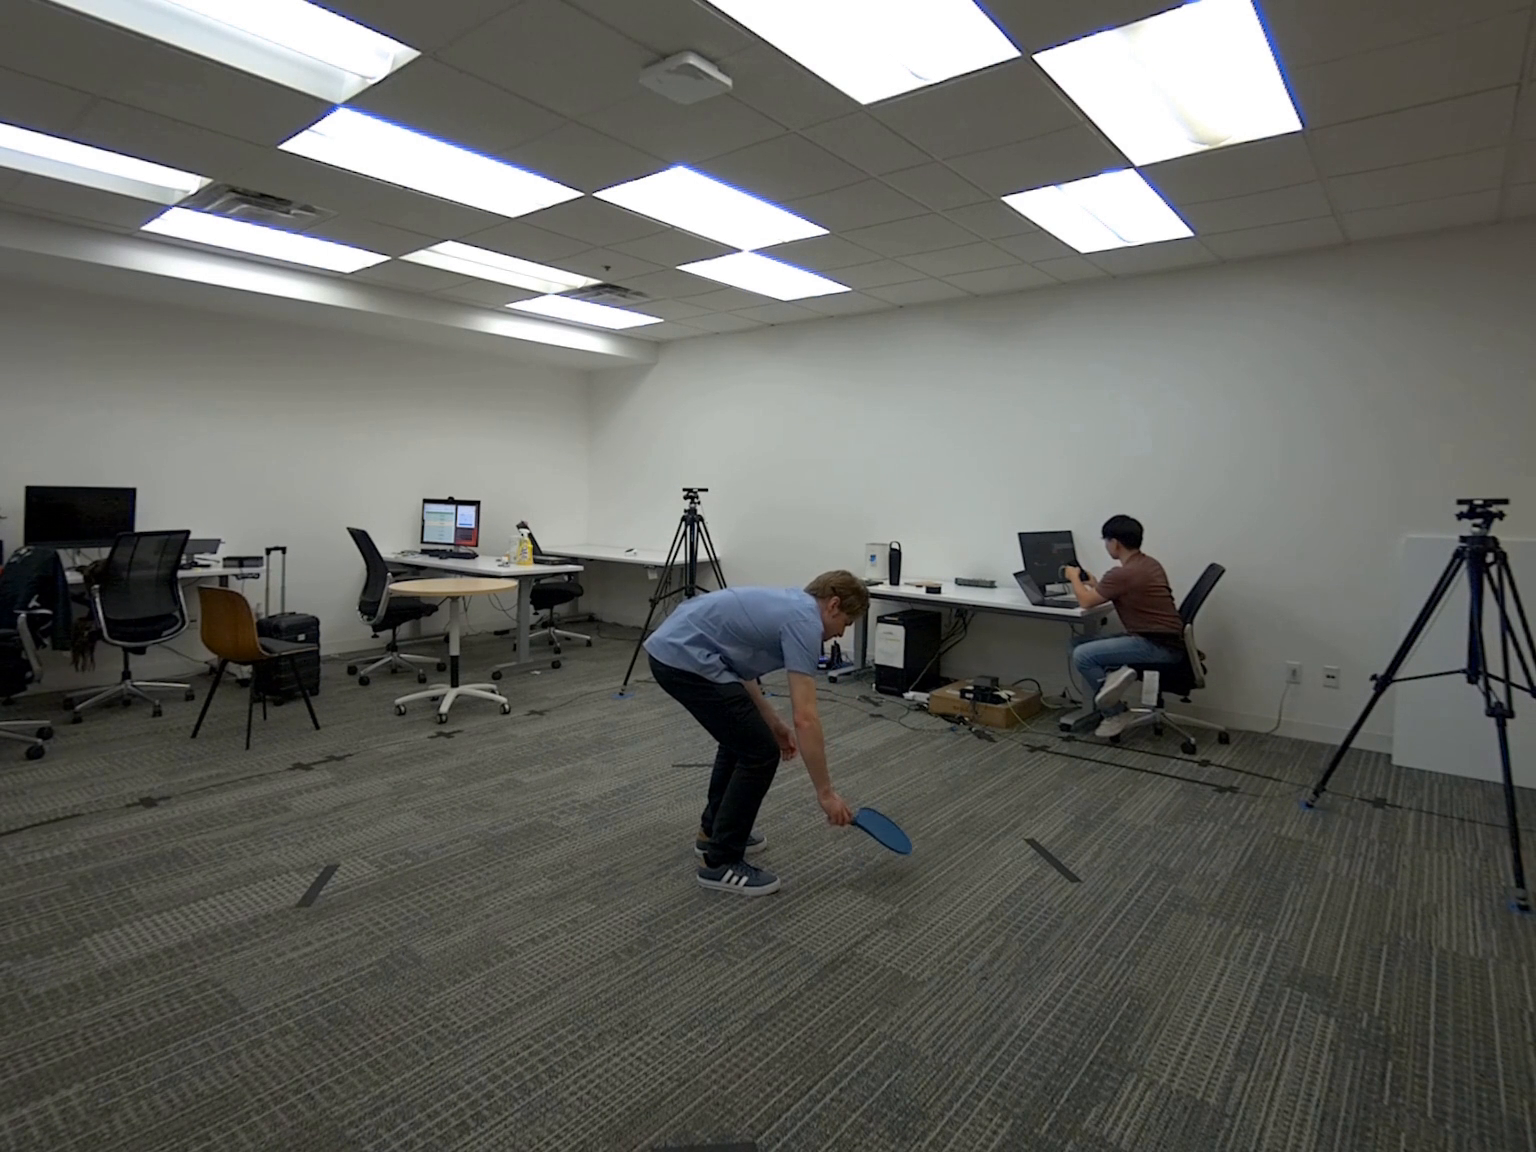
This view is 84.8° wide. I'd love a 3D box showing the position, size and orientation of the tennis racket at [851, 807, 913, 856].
[{"bbox_3d":[0.357,0.900,3.038,0.416,0.032,0.223,28,15,-38],"label":"tennis racket"}]
